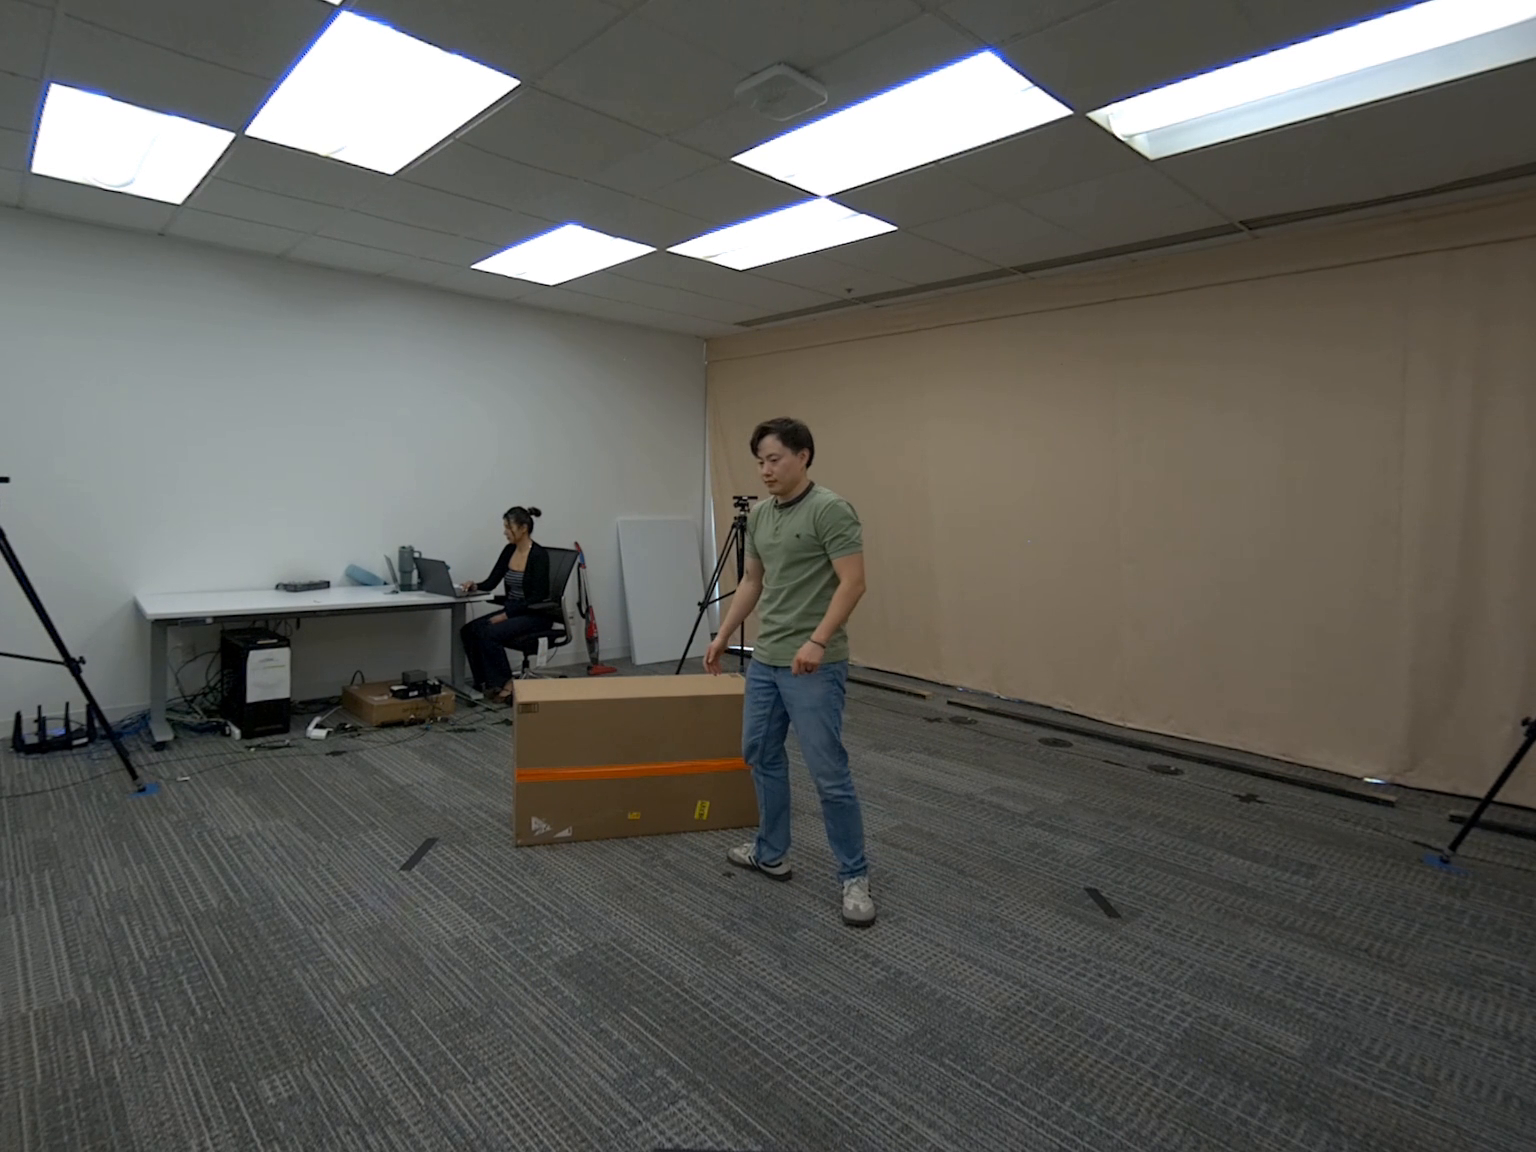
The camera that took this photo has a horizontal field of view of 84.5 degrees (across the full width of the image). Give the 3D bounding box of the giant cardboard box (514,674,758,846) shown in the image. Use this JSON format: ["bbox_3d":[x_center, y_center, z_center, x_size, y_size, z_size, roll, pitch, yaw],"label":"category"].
[{"bbox_3d":[-0.575,0.756,3.625,1.013,0.576,0.433,0,4,-16],"label":"giant cardboard box"}]
